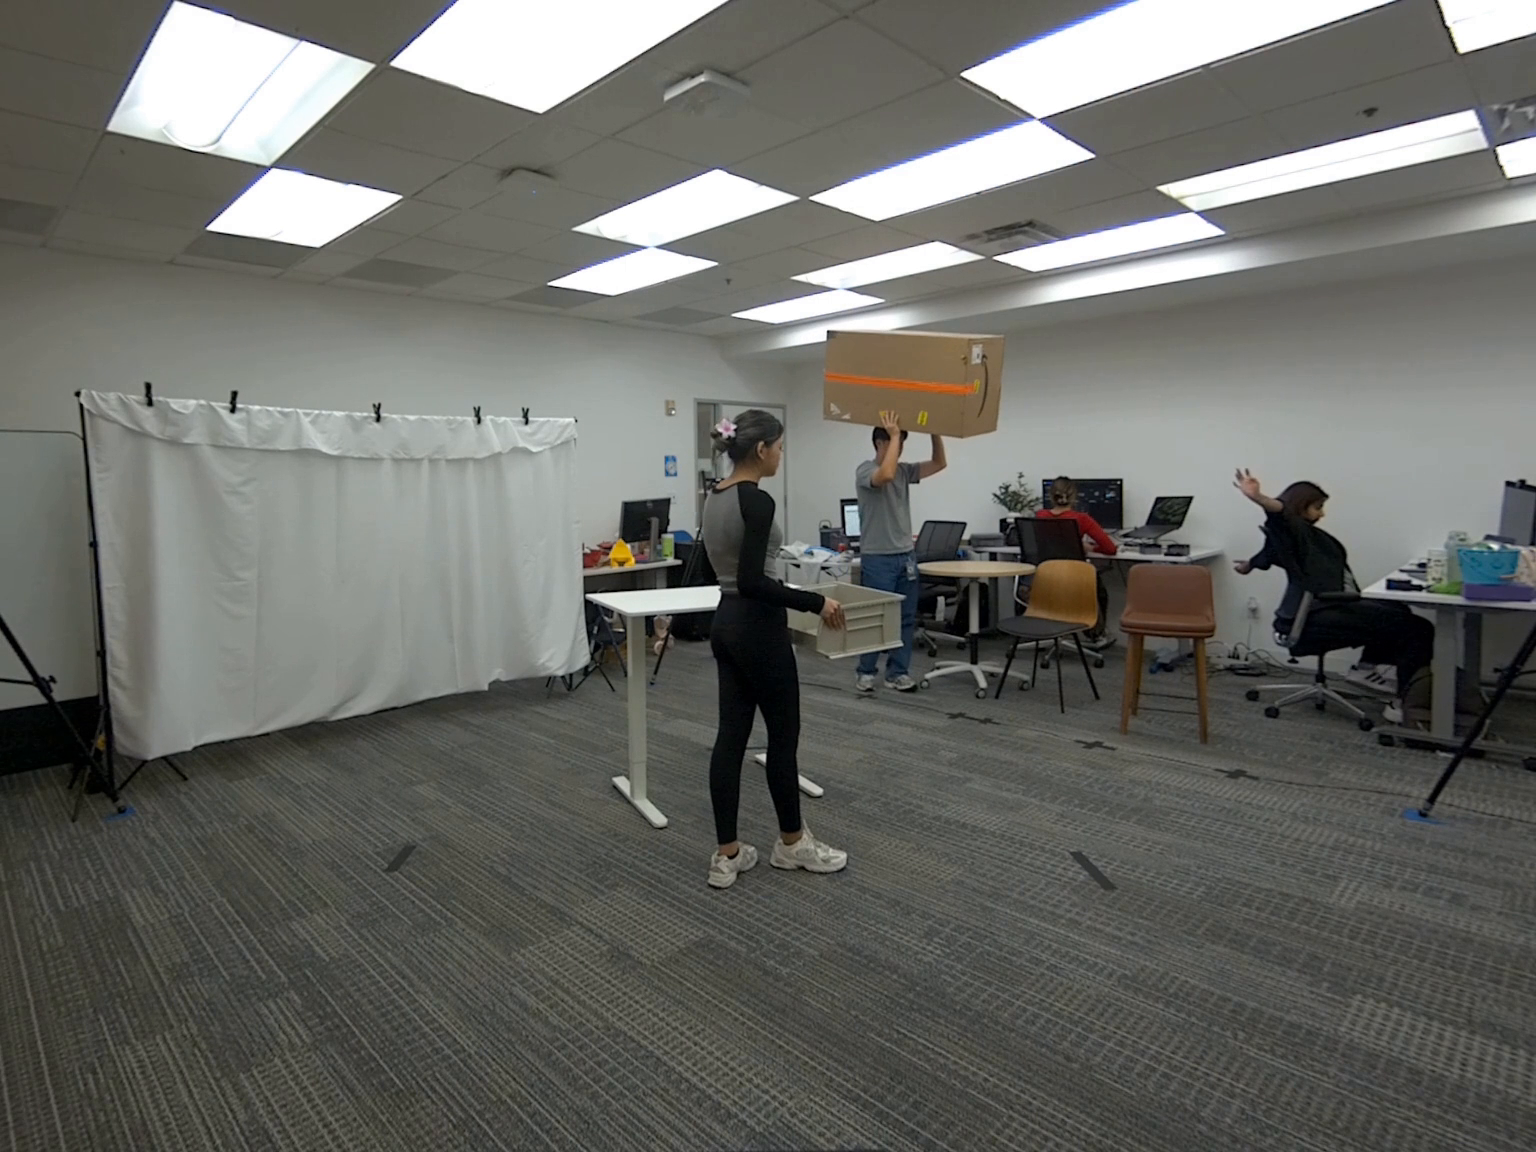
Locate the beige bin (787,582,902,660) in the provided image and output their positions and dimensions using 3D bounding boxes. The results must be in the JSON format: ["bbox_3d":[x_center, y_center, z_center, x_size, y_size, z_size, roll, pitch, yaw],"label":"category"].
[{"bbox_3d":[0.222,0.153,3.123,0.369,0.188,0.434,-5,7,-28],"label":"beige bin"}]
